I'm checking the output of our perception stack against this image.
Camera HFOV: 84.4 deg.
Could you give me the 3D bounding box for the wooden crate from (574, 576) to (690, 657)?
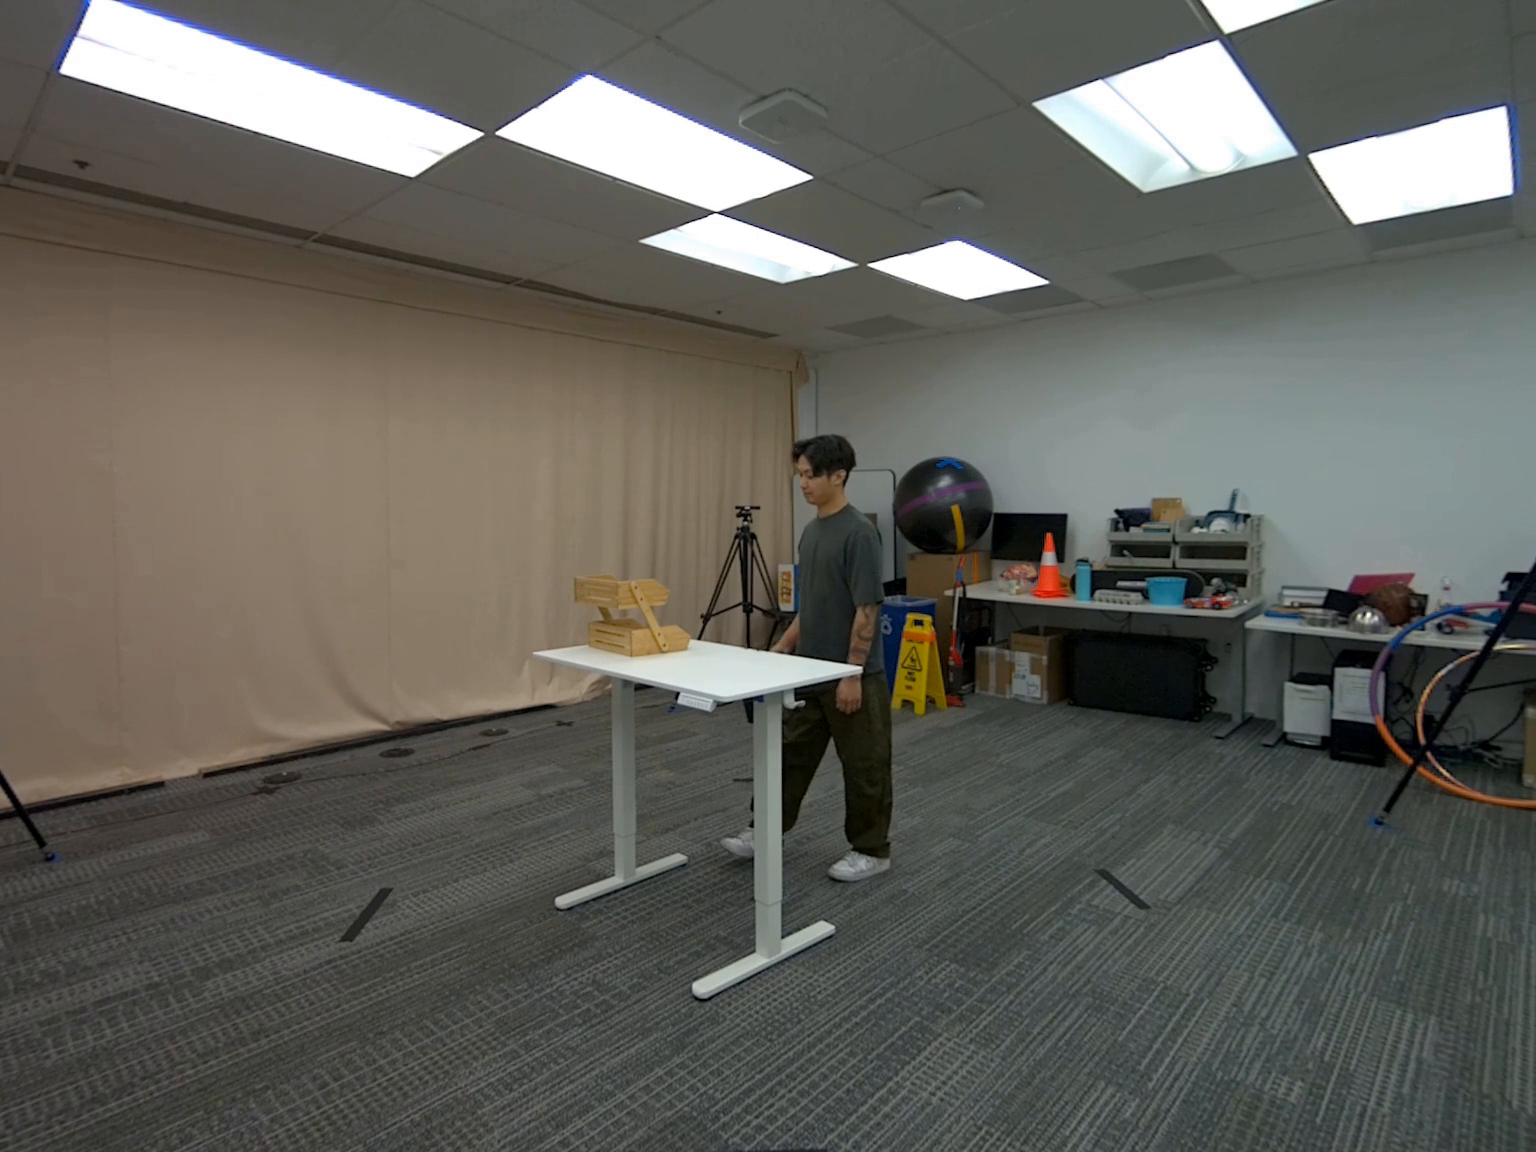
[{"bbox_3d":[-0.486,0.134,3.032,0.293,0.273,0.335,-3,5,-40],"label":"wooden crate"}]
